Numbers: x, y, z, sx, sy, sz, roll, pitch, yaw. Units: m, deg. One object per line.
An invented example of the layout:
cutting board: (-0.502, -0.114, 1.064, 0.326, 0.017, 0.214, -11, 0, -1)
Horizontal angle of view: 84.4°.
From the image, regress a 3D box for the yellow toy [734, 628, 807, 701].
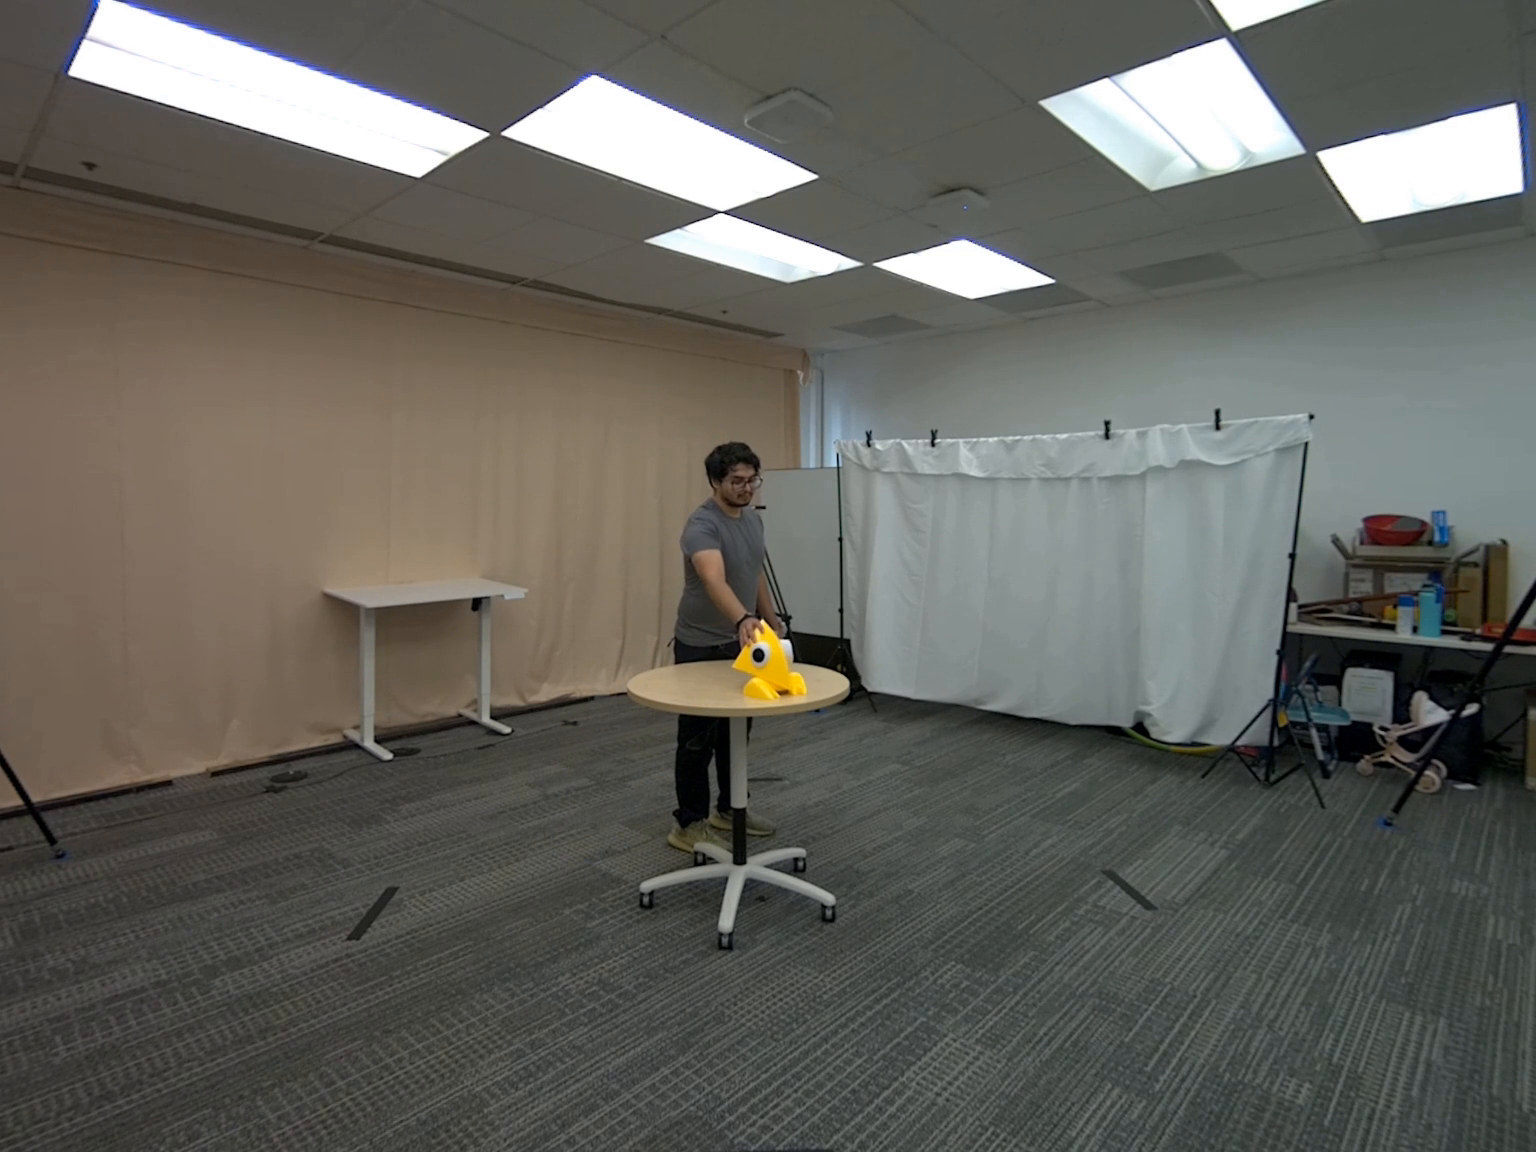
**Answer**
yellow toy: (0.015, 0.264, 2.745, 0.199, 0.230, 0.199, -3, 4, -32)
